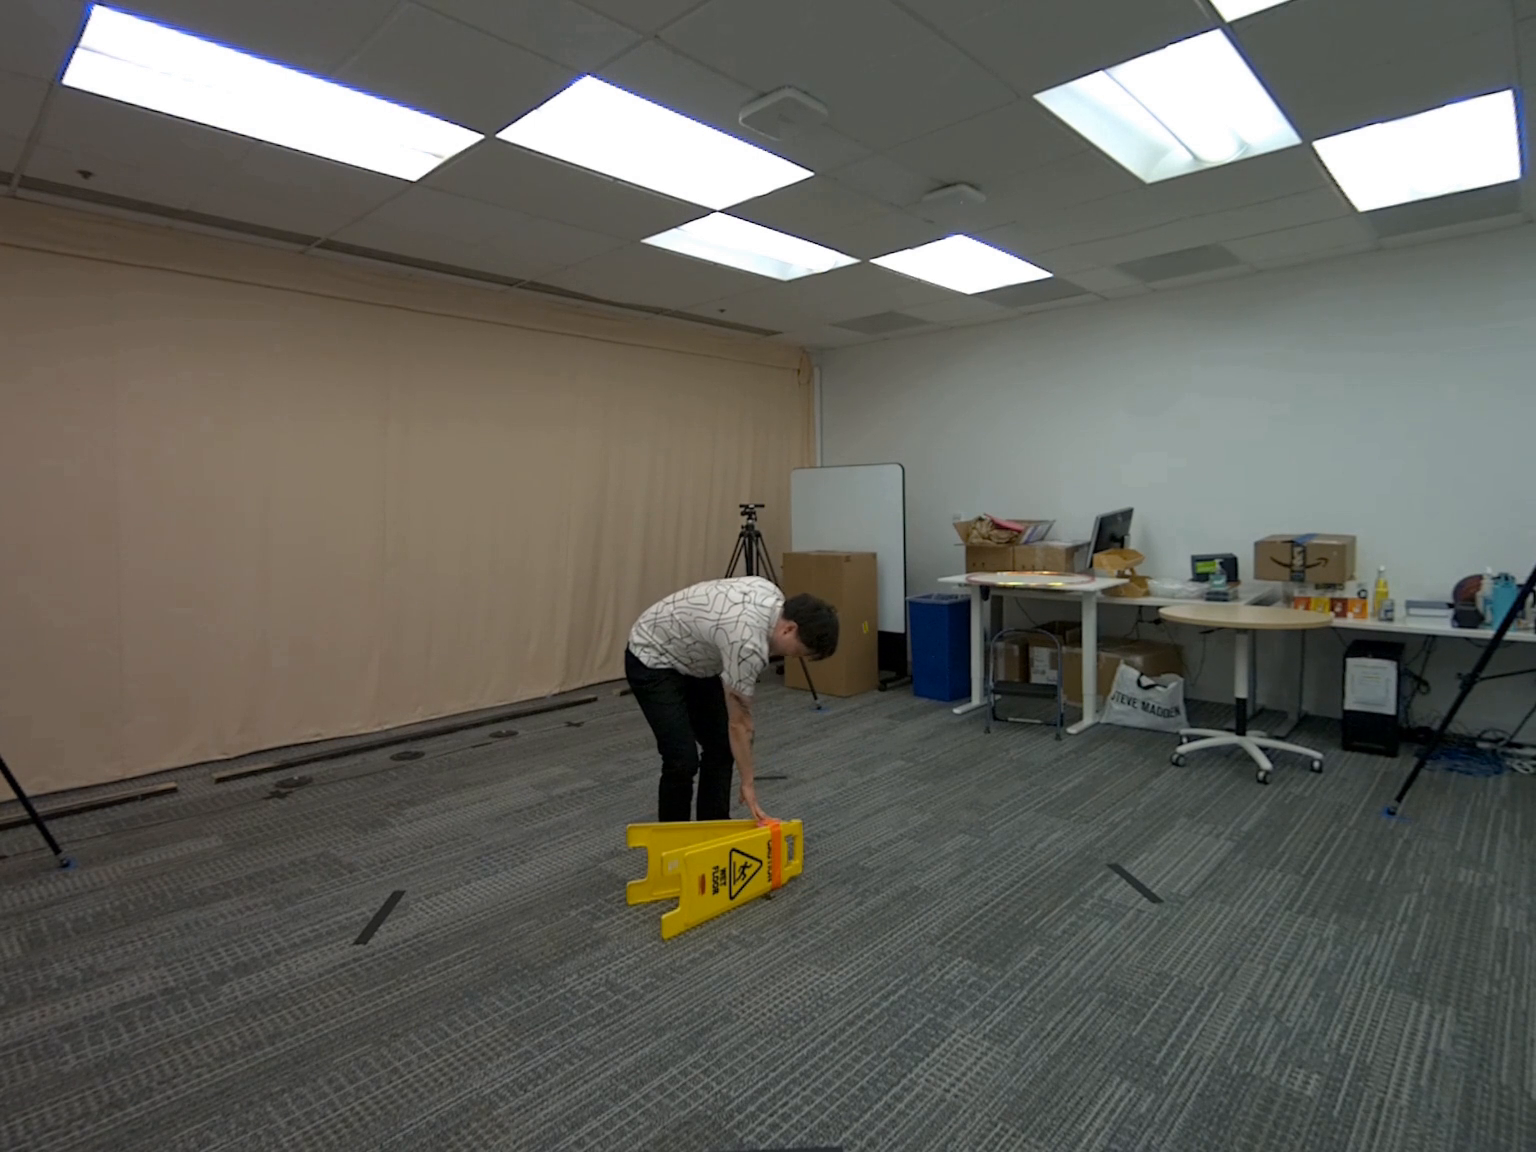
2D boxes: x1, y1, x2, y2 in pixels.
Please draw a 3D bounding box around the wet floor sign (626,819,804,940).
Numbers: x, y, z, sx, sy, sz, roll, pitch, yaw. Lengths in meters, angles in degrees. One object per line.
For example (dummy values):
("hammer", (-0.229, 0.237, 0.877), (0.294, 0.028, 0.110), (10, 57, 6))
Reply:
("wet floor sign", (-0.147, 1.010, 2.984), (0.629, 0.282, 0.298), (-1, 3, -30))
